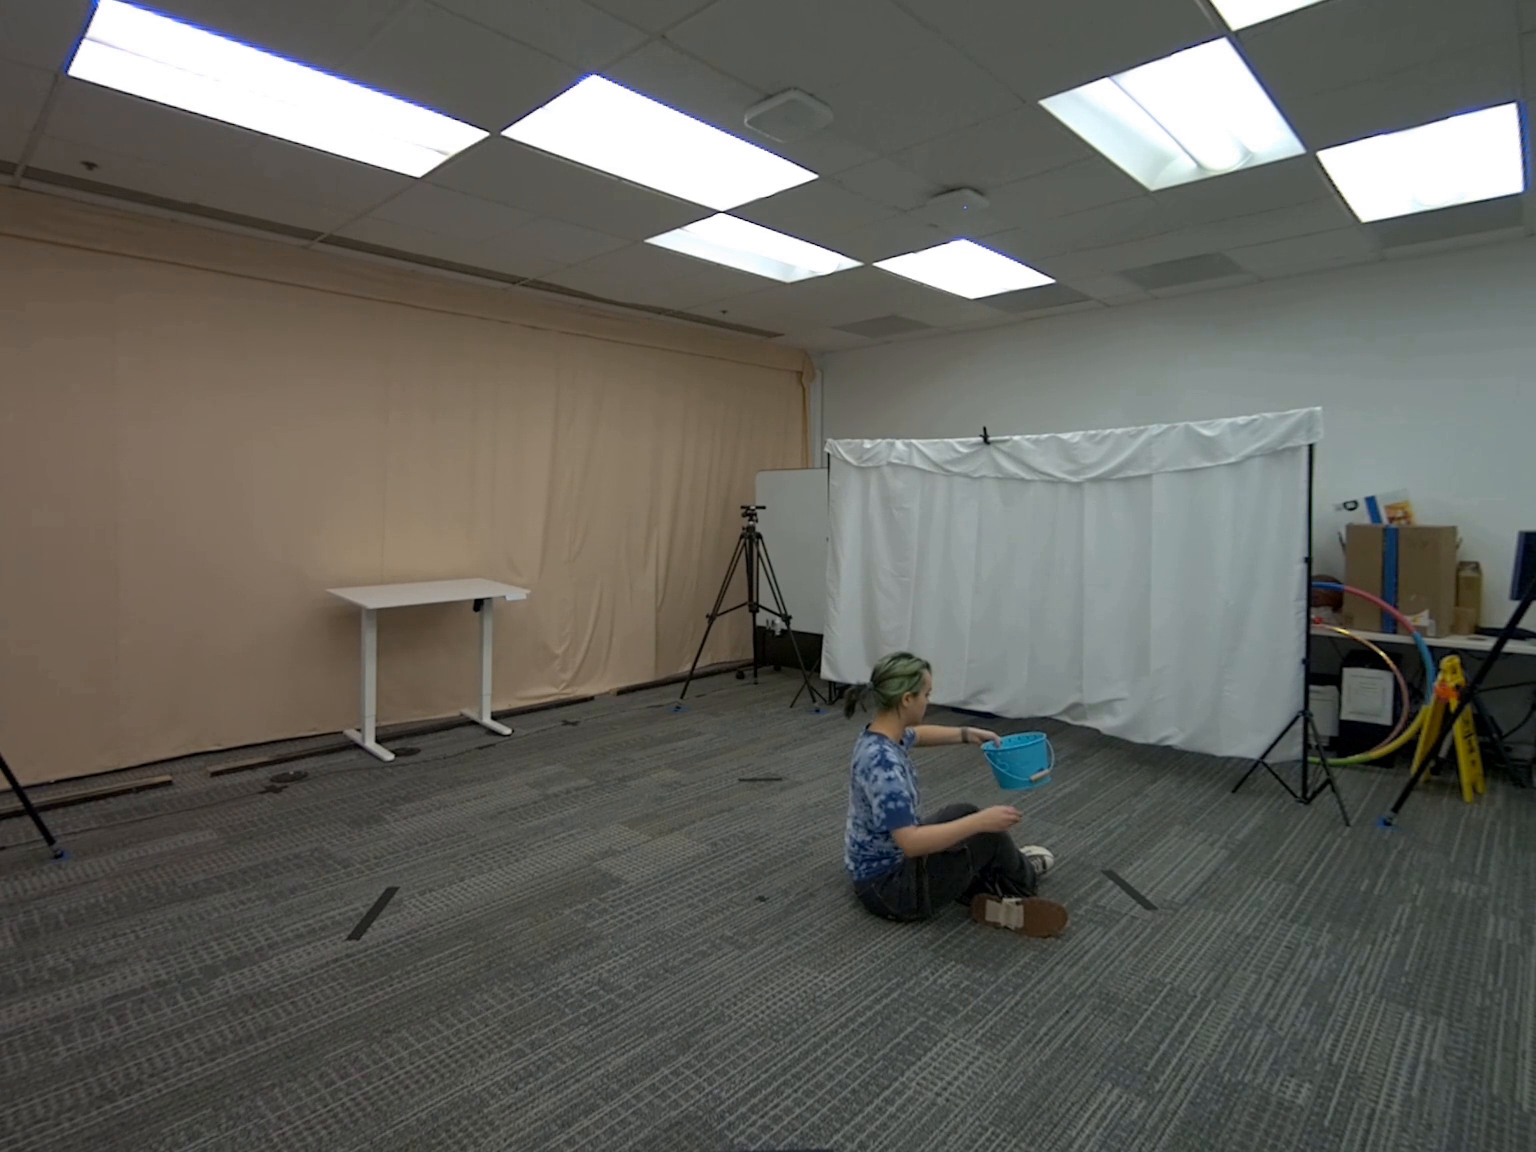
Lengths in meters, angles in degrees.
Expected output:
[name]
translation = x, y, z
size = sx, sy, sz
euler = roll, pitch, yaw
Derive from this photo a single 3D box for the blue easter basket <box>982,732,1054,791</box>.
[blue easter basket]
translation = 0.907, 0.676, 3.026
size = 0.243, 0.157, 0.243
euler = -12, -6, -3
